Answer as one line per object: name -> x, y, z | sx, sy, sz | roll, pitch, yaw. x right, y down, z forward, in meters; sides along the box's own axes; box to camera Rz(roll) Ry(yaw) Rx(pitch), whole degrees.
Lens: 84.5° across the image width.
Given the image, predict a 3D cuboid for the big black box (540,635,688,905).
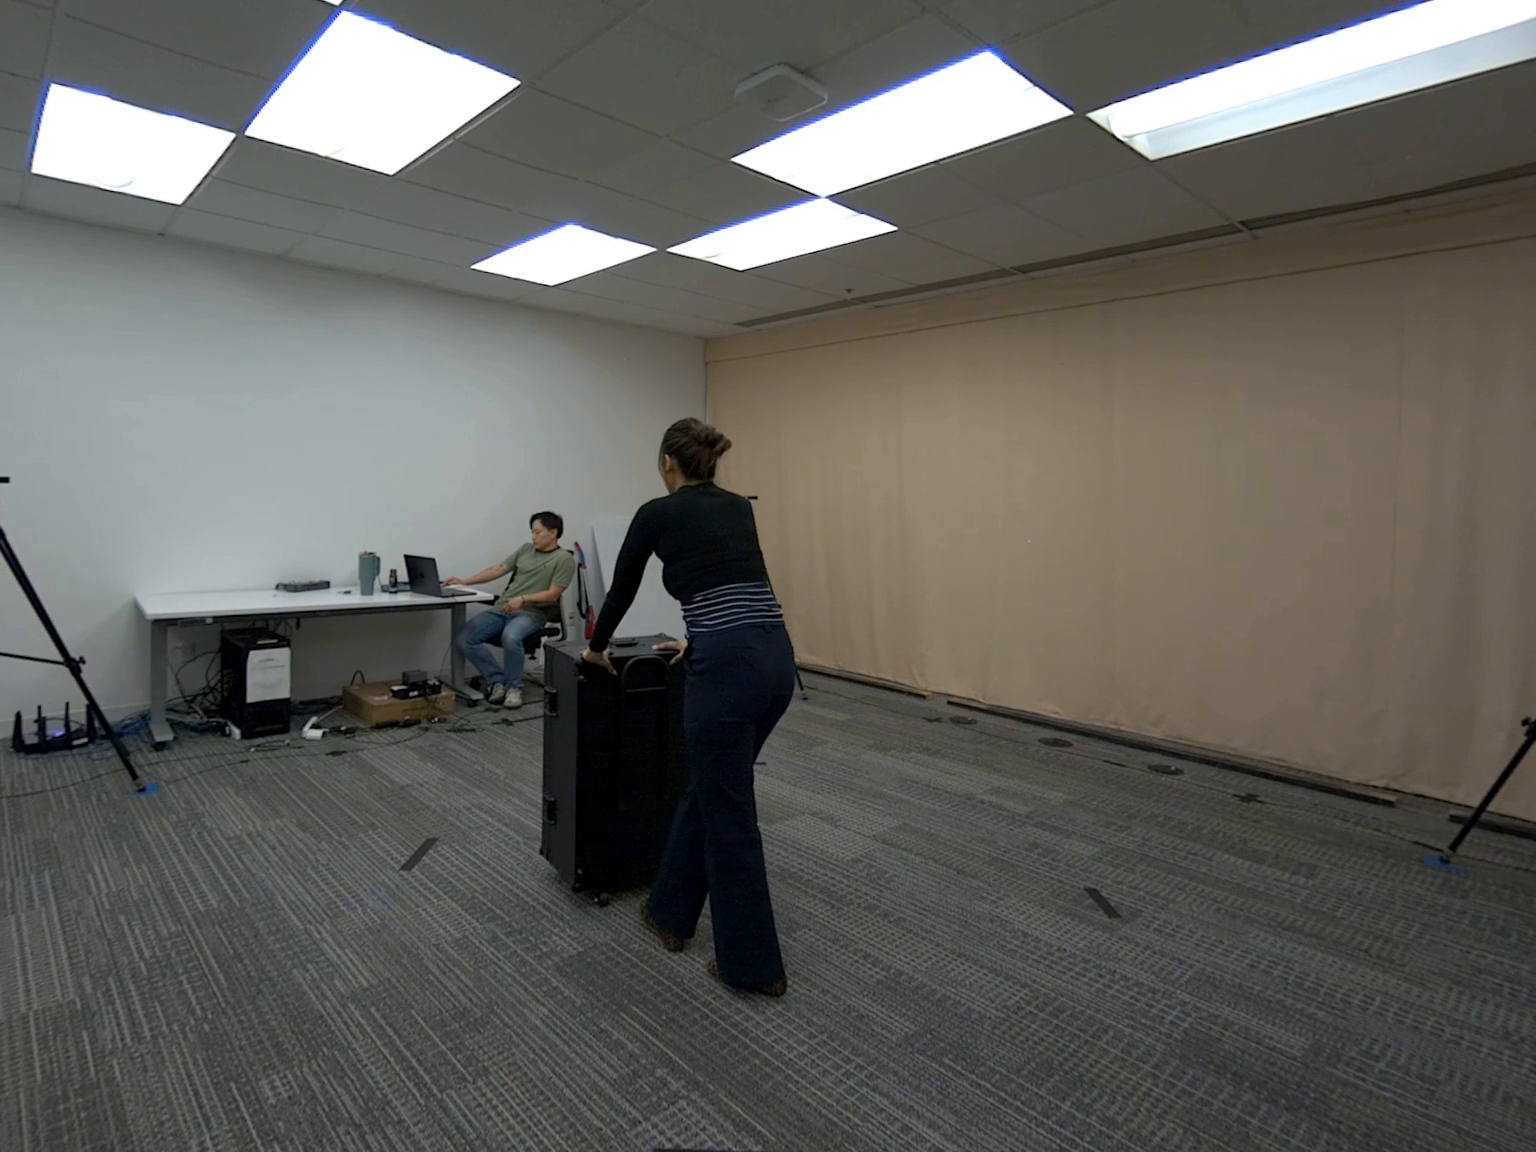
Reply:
big black box -> -0.522, 0.676, 3.028 | 0.510, 0.859, 0.406 | -1, 4, -32
